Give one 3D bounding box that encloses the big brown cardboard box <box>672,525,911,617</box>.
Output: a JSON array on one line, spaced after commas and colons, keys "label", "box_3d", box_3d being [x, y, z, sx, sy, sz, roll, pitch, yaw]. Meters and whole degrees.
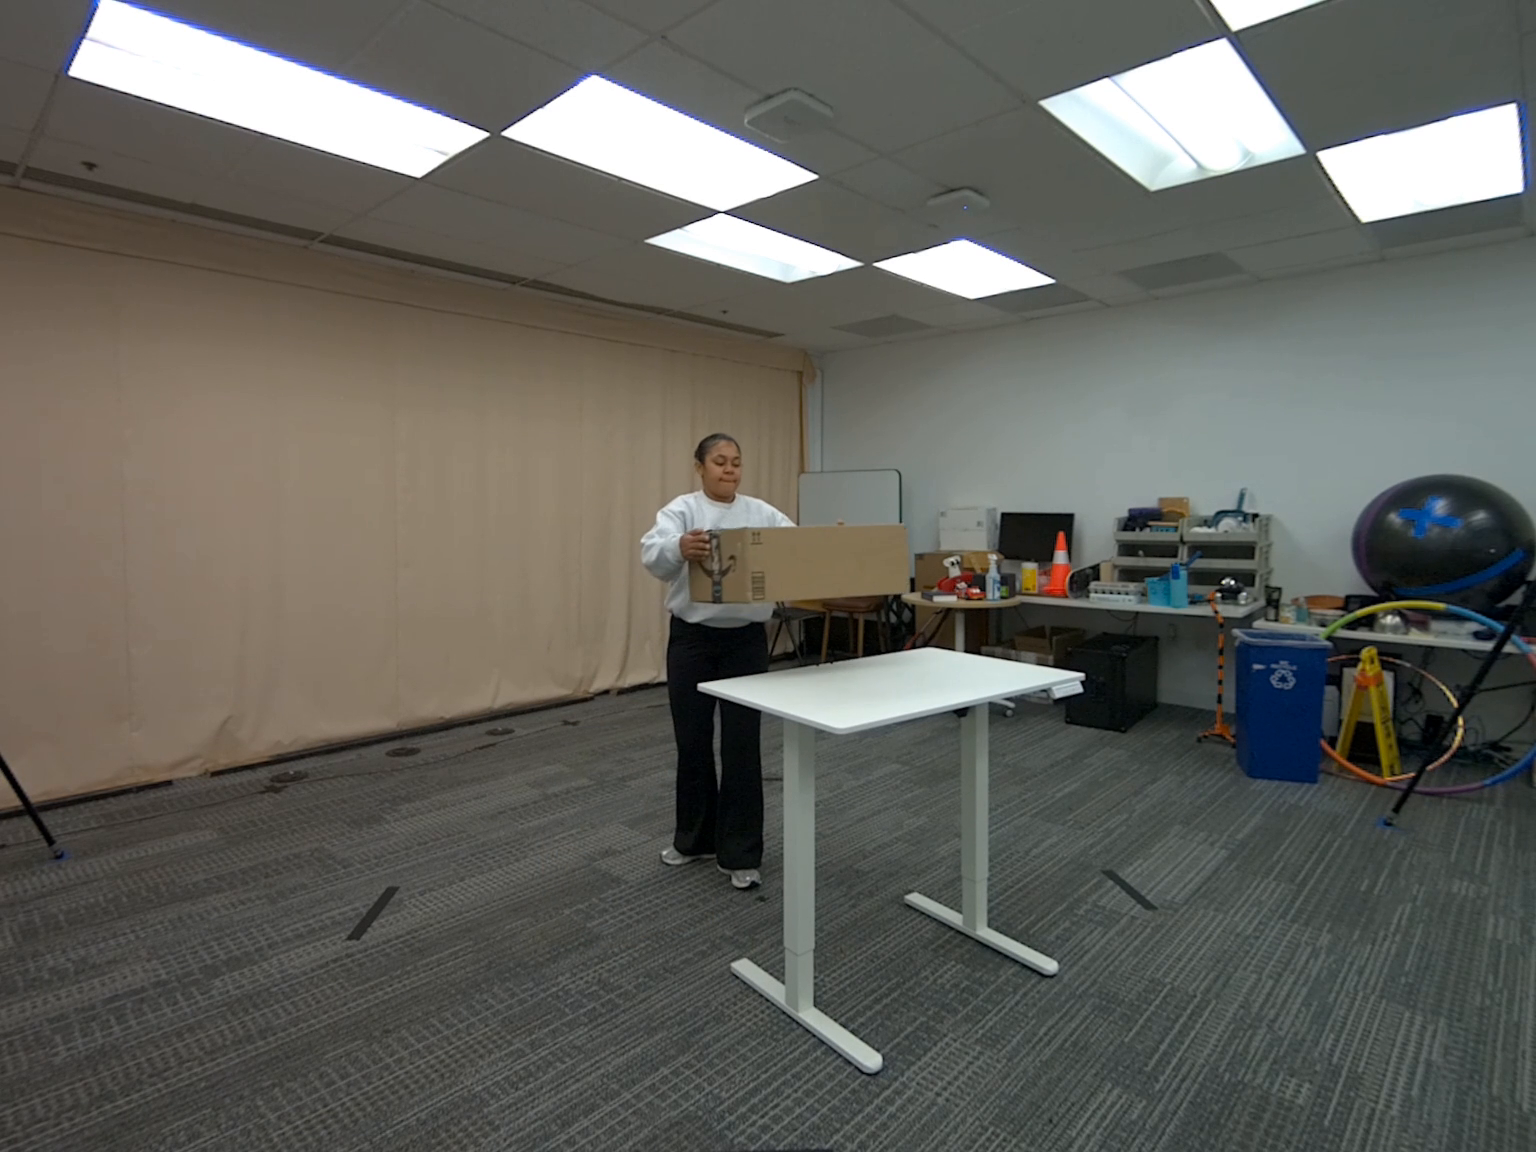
[{"label": "big brown cardboard box", "box_3d": [0.080, -0.034, 2.642, 0.574, 0.233, 0.428, -2, 0, -27]}]
